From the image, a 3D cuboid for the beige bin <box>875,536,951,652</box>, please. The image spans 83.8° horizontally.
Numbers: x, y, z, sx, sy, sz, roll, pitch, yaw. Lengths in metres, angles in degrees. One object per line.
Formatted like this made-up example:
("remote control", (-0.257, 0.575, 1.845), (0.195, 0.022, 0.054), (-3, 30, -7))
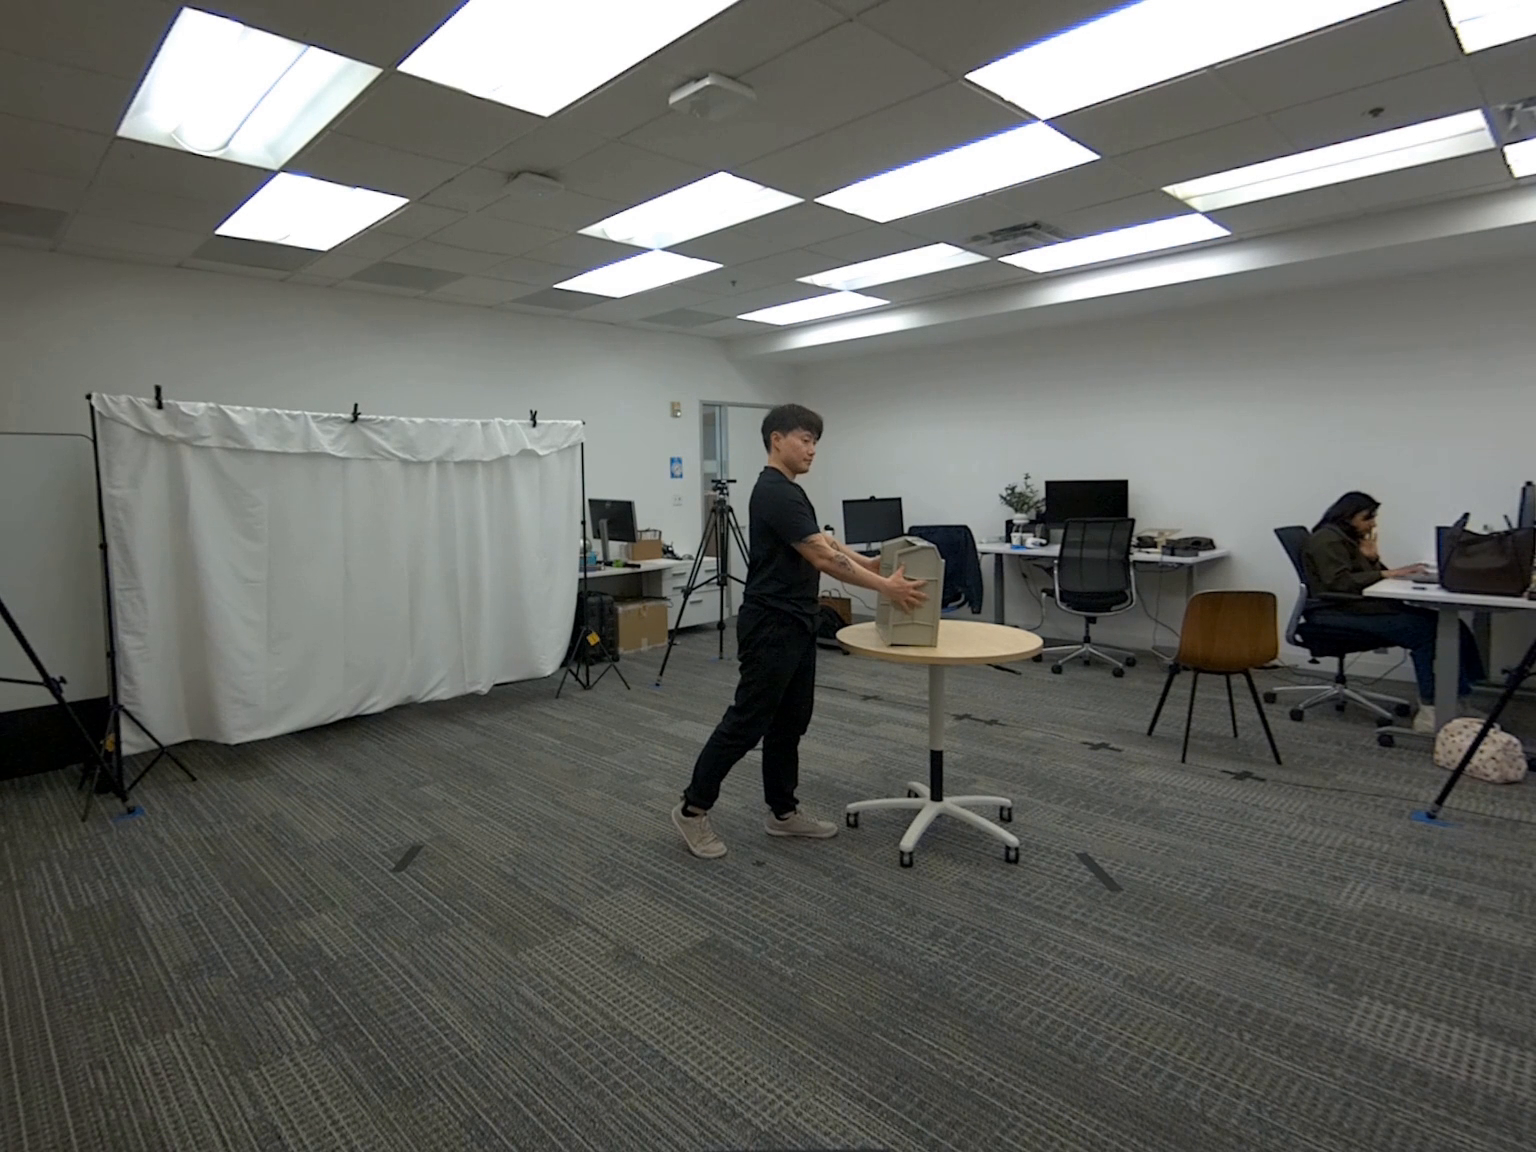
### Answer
("beige bin", (0.540, 0.052, 3.259), (0.189, 0.376, 0.423), (2, 5, 0))
